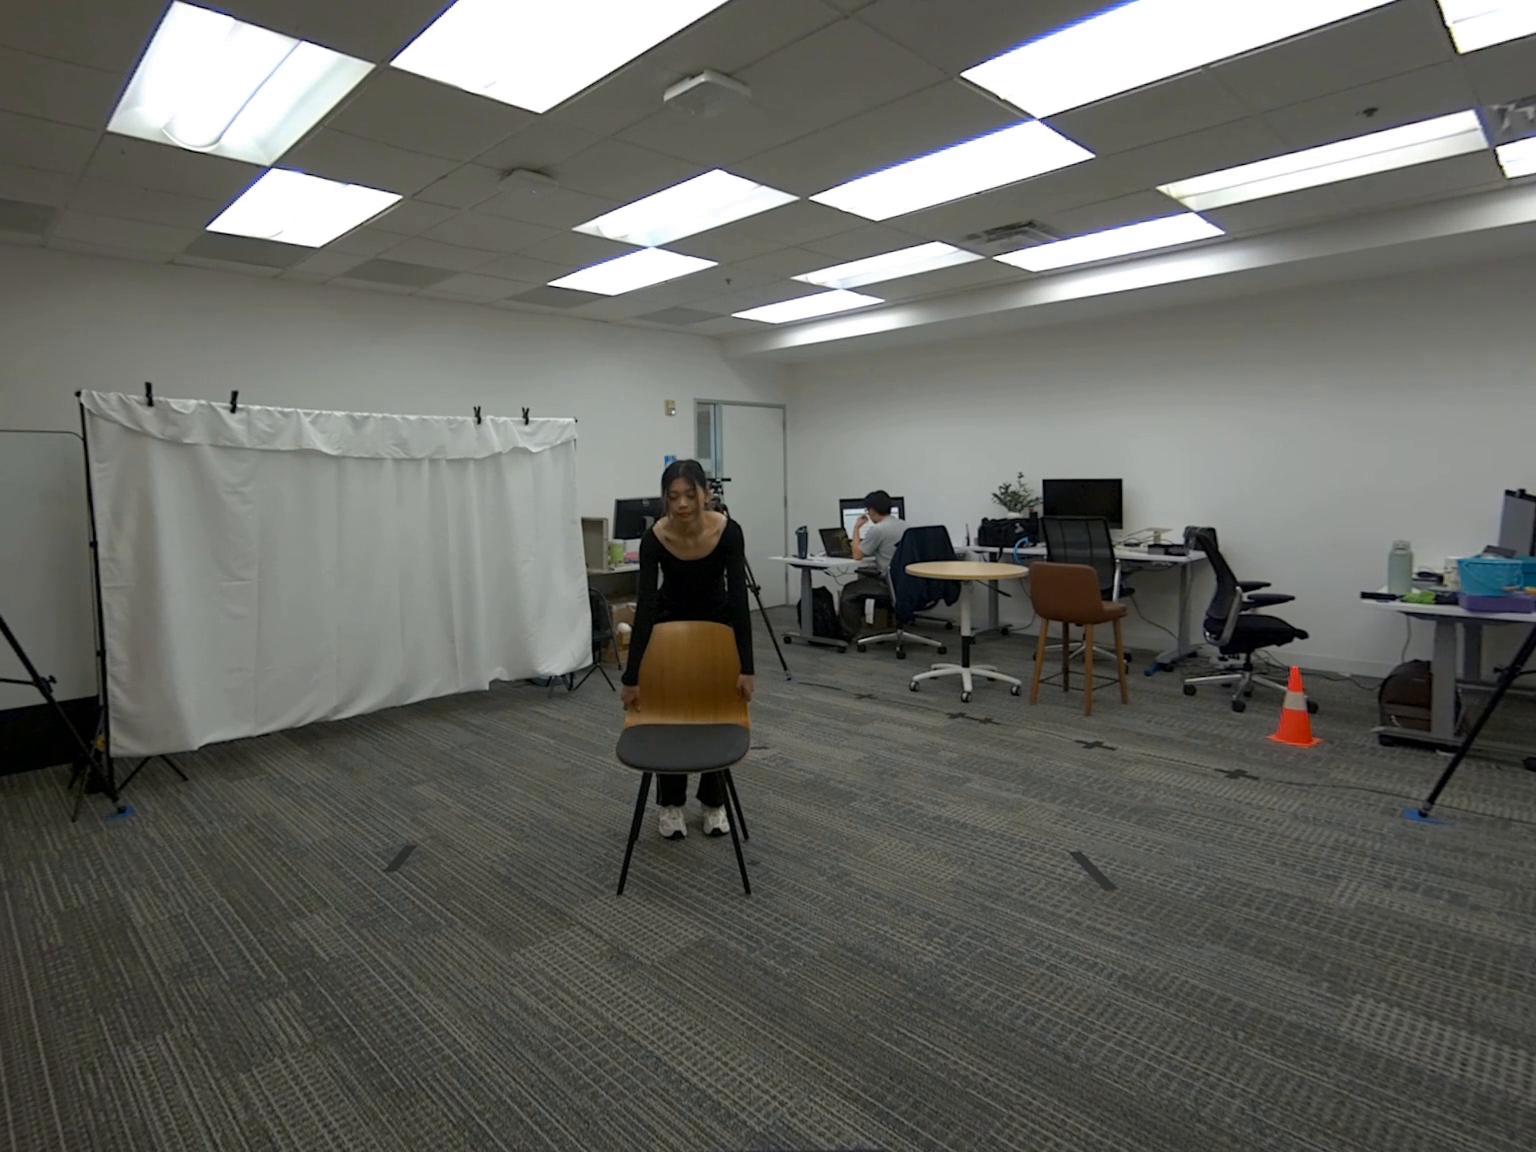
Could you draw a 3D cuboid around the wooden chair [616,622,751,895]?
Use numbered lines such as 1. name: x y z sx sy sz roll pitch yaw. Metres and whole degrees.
1. wooden chair: -0.293 0.625 3.051 0.478 0.878 0.523 0 0 -1
